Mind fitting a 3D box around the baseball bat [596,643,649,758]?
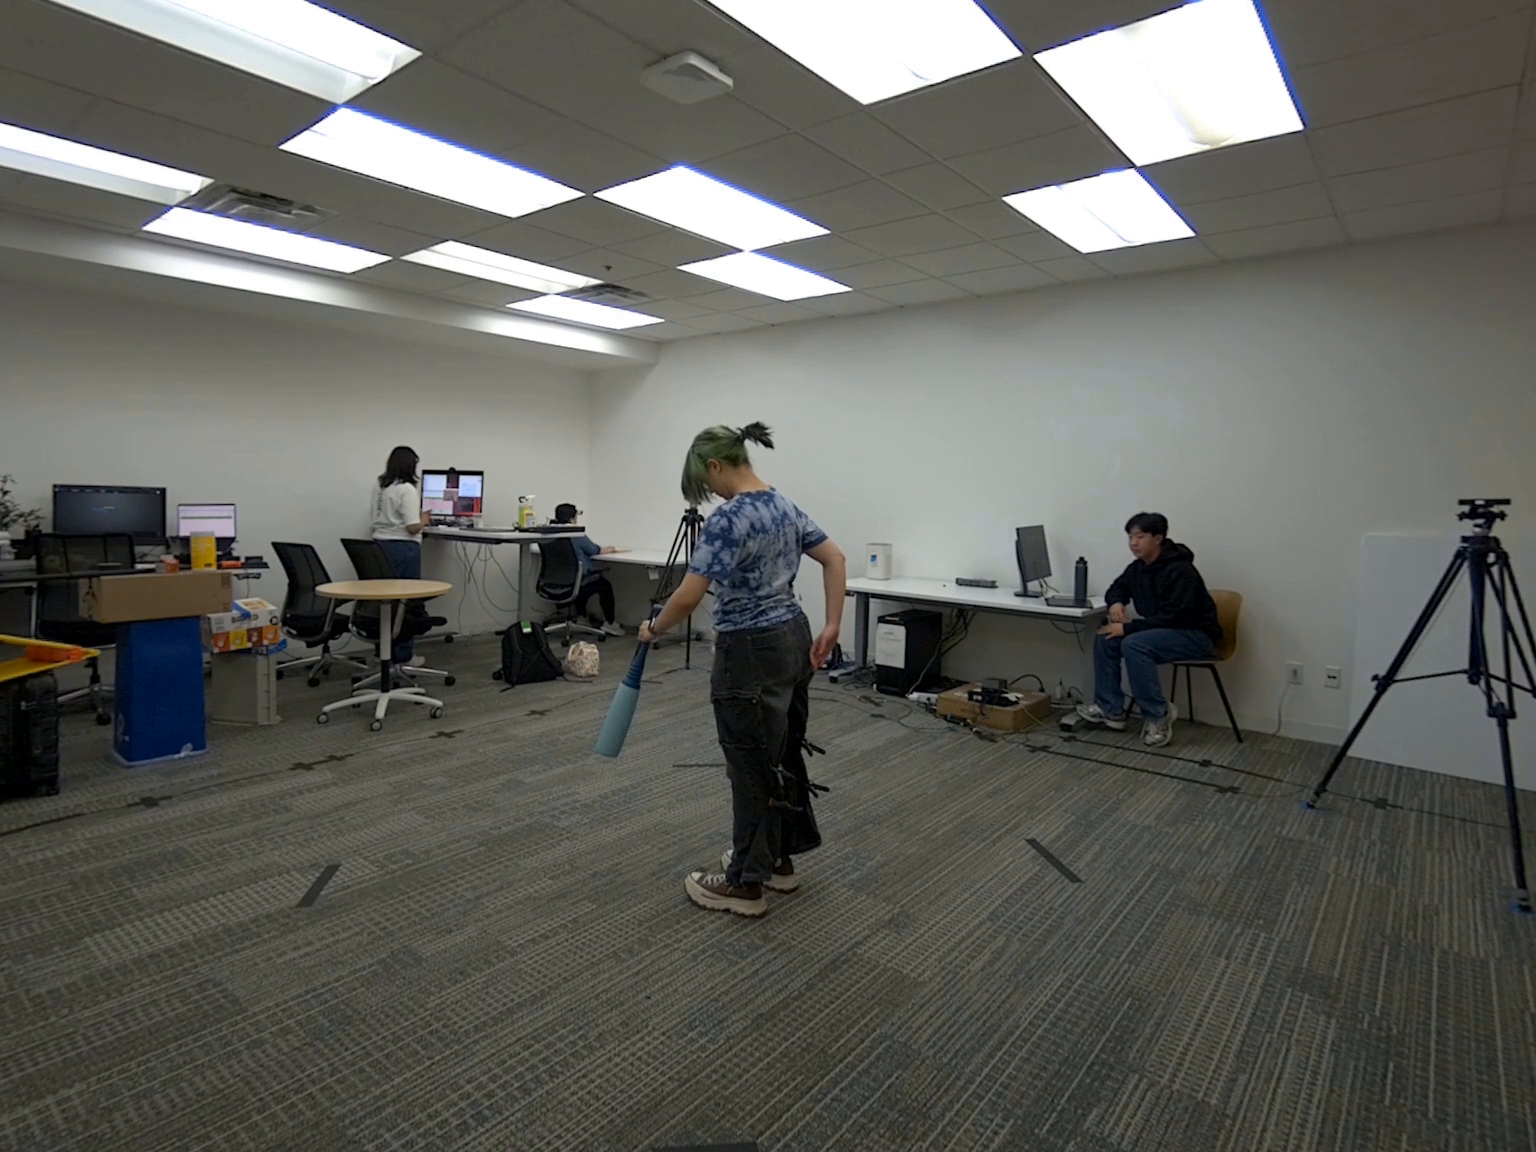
[{"bbox_3d":[-0.470,0.362,2.913,0.089,0.544,0.089,19,-2,-2],"label":"baseball bat"}]
